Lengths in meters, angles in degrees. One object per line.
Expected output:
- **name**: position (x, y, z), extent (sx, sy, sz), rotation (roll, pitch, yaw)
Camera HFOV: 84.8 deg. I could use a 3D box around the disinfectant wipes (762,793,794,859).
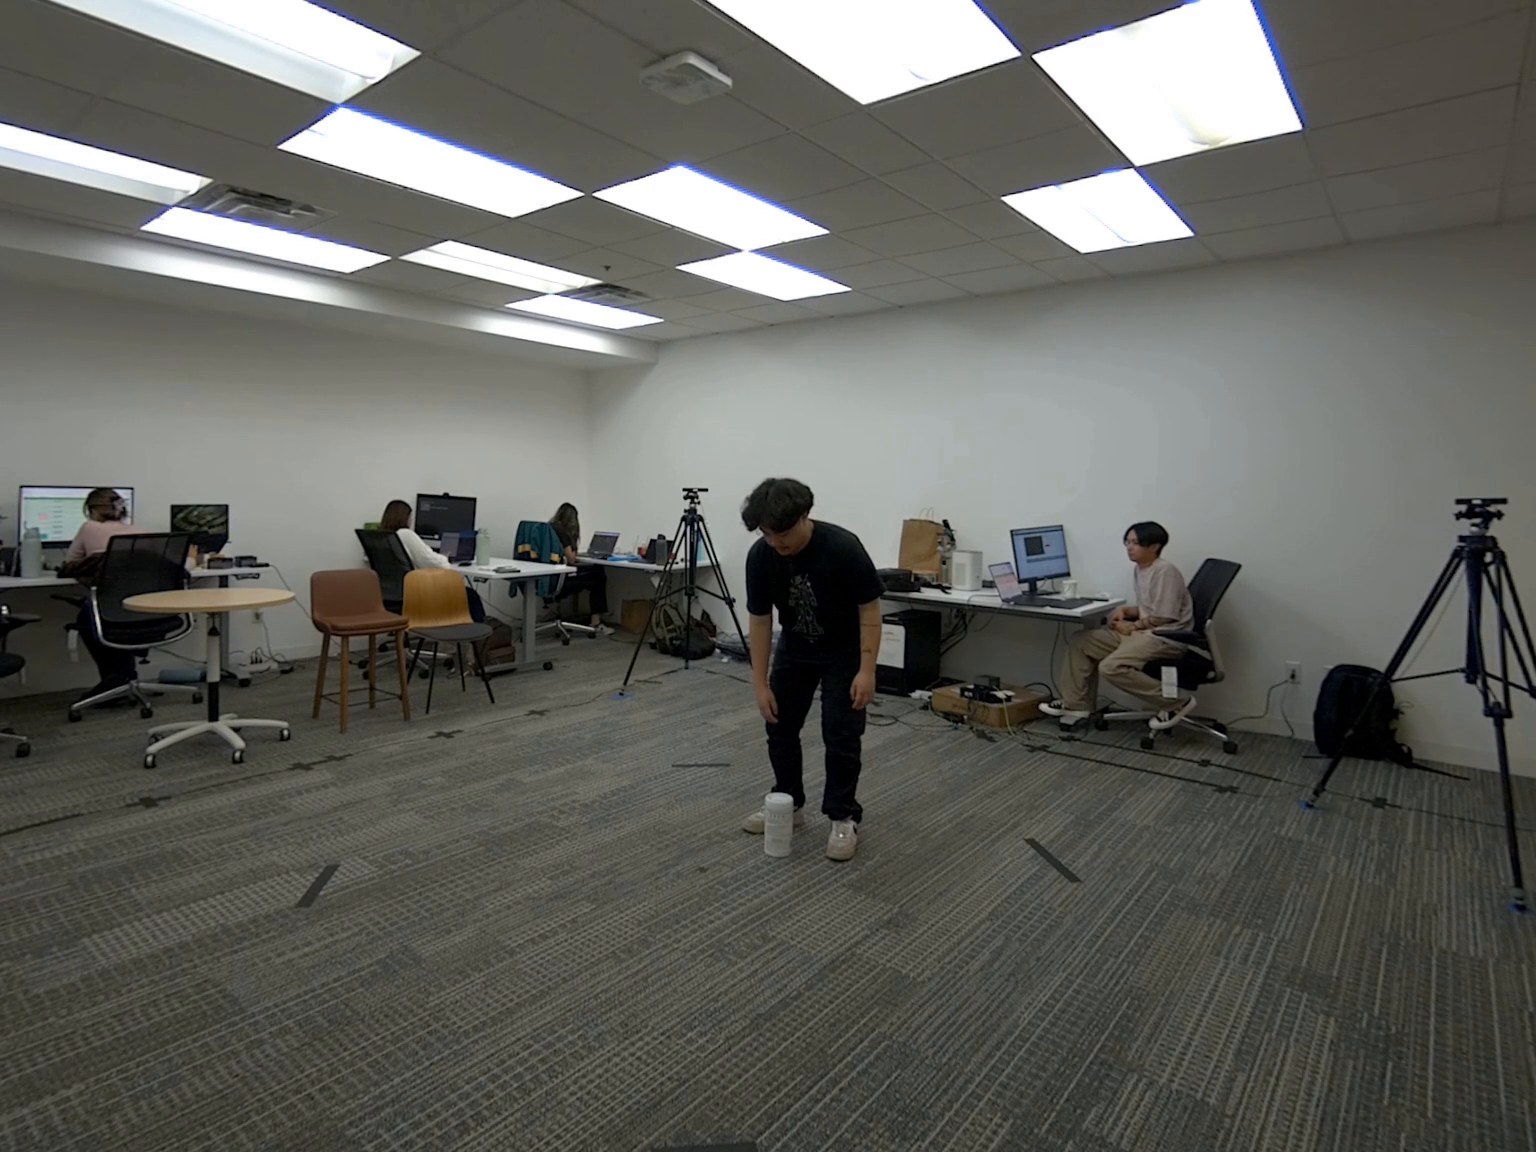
- **disinfectant wipes**: position (0.038, 0.952, 3.267), extent (0.117, 0.216, 0.118), rotation (1, 4, -2)
